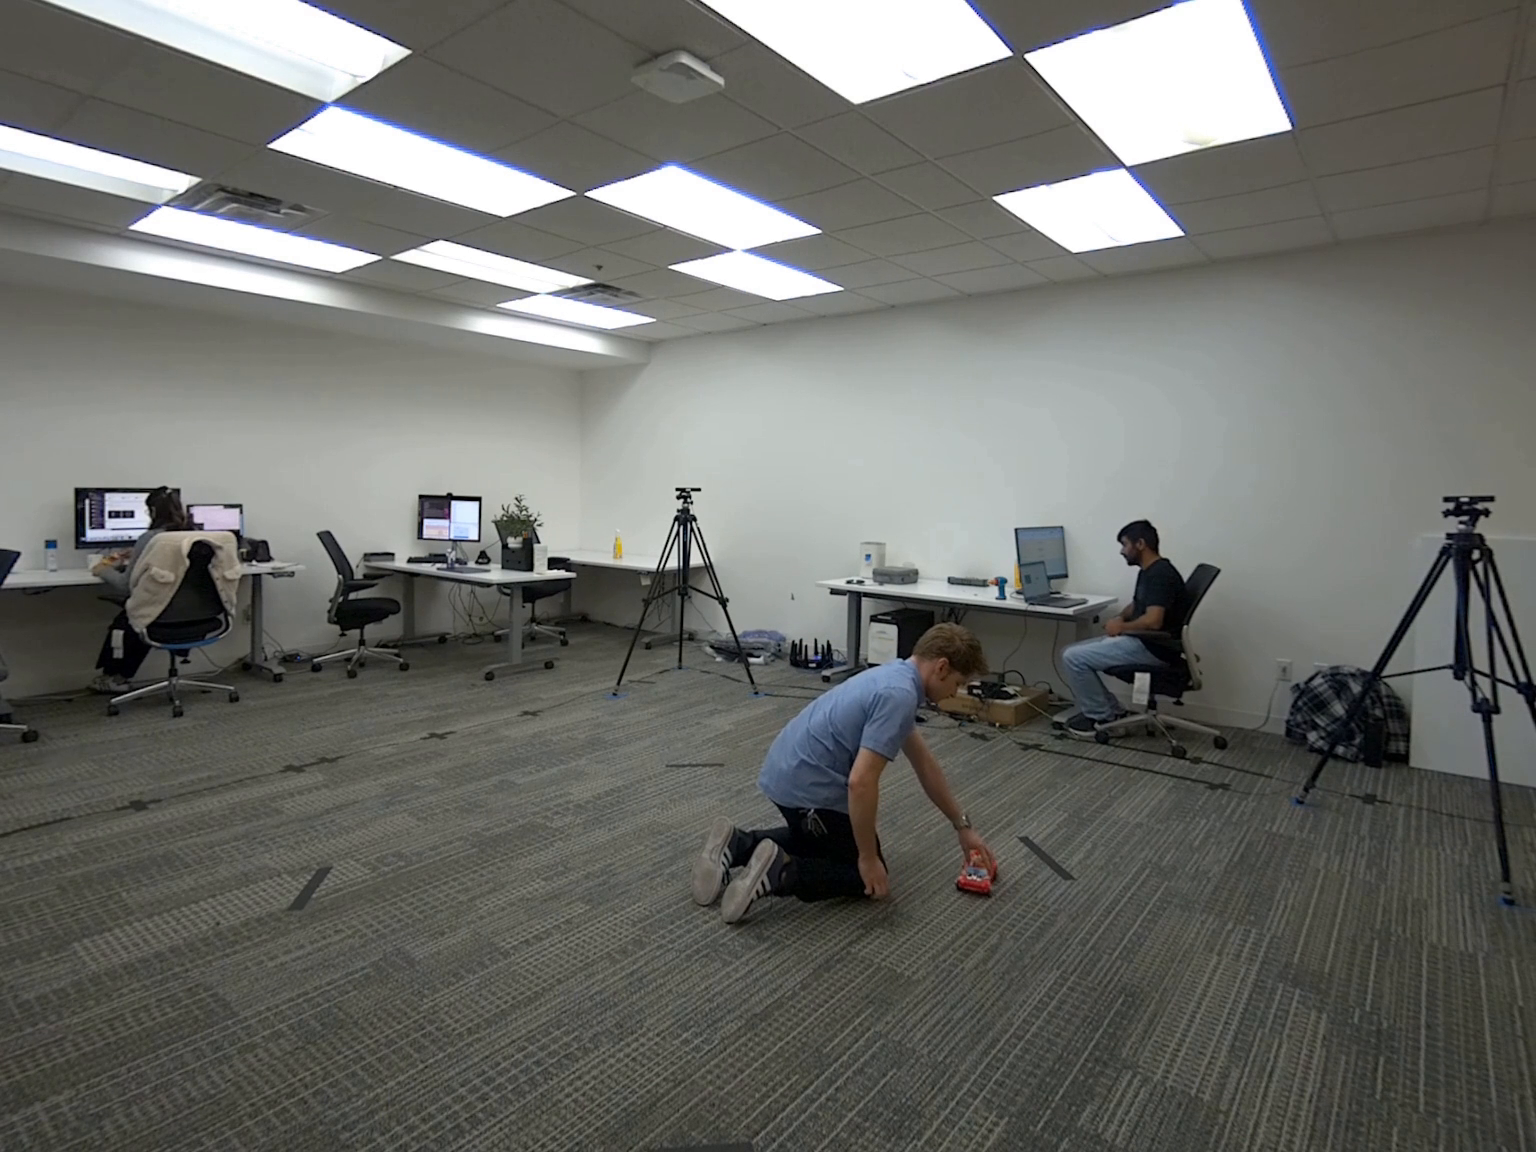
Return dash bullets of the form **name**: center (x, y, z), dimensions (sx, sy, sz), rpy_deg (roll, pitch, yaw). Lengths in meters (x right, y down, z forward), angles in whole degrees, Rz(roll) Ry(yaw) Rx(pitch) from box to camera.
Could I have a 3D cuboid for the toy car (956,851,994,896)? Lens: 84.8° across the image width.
- **toy car**: center (0.750, 1.067, 3.054), dimensions (0.134, 0.082, 0.252), rpy_deg (3, 17, 24)
